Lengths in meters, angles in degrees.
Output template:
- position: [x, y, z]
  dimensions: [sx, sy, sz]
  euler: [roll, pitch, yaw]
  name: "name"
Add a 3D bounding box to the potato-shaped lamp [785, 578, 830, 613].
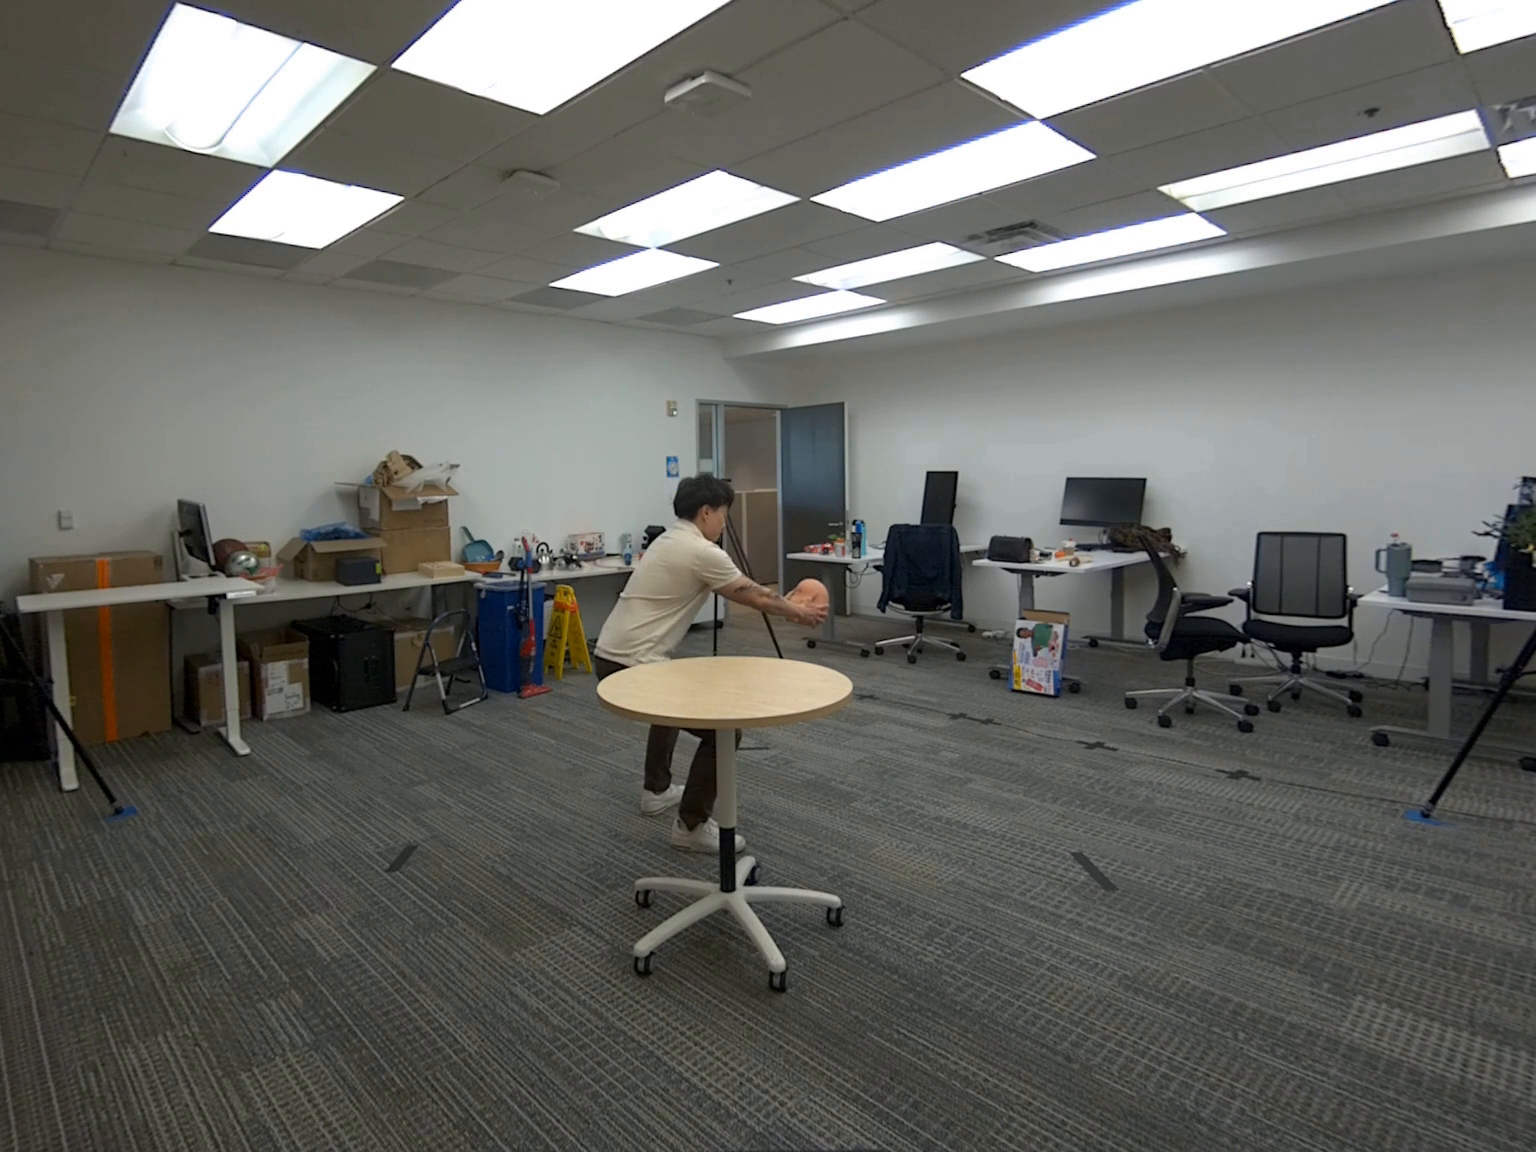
- position: [0.162, 0.113, 3.629]
  dimensions: [0.168, 0.198, 0.168]
  euler: [7, 1, -20]
  name: "potato-shaped lamp"
